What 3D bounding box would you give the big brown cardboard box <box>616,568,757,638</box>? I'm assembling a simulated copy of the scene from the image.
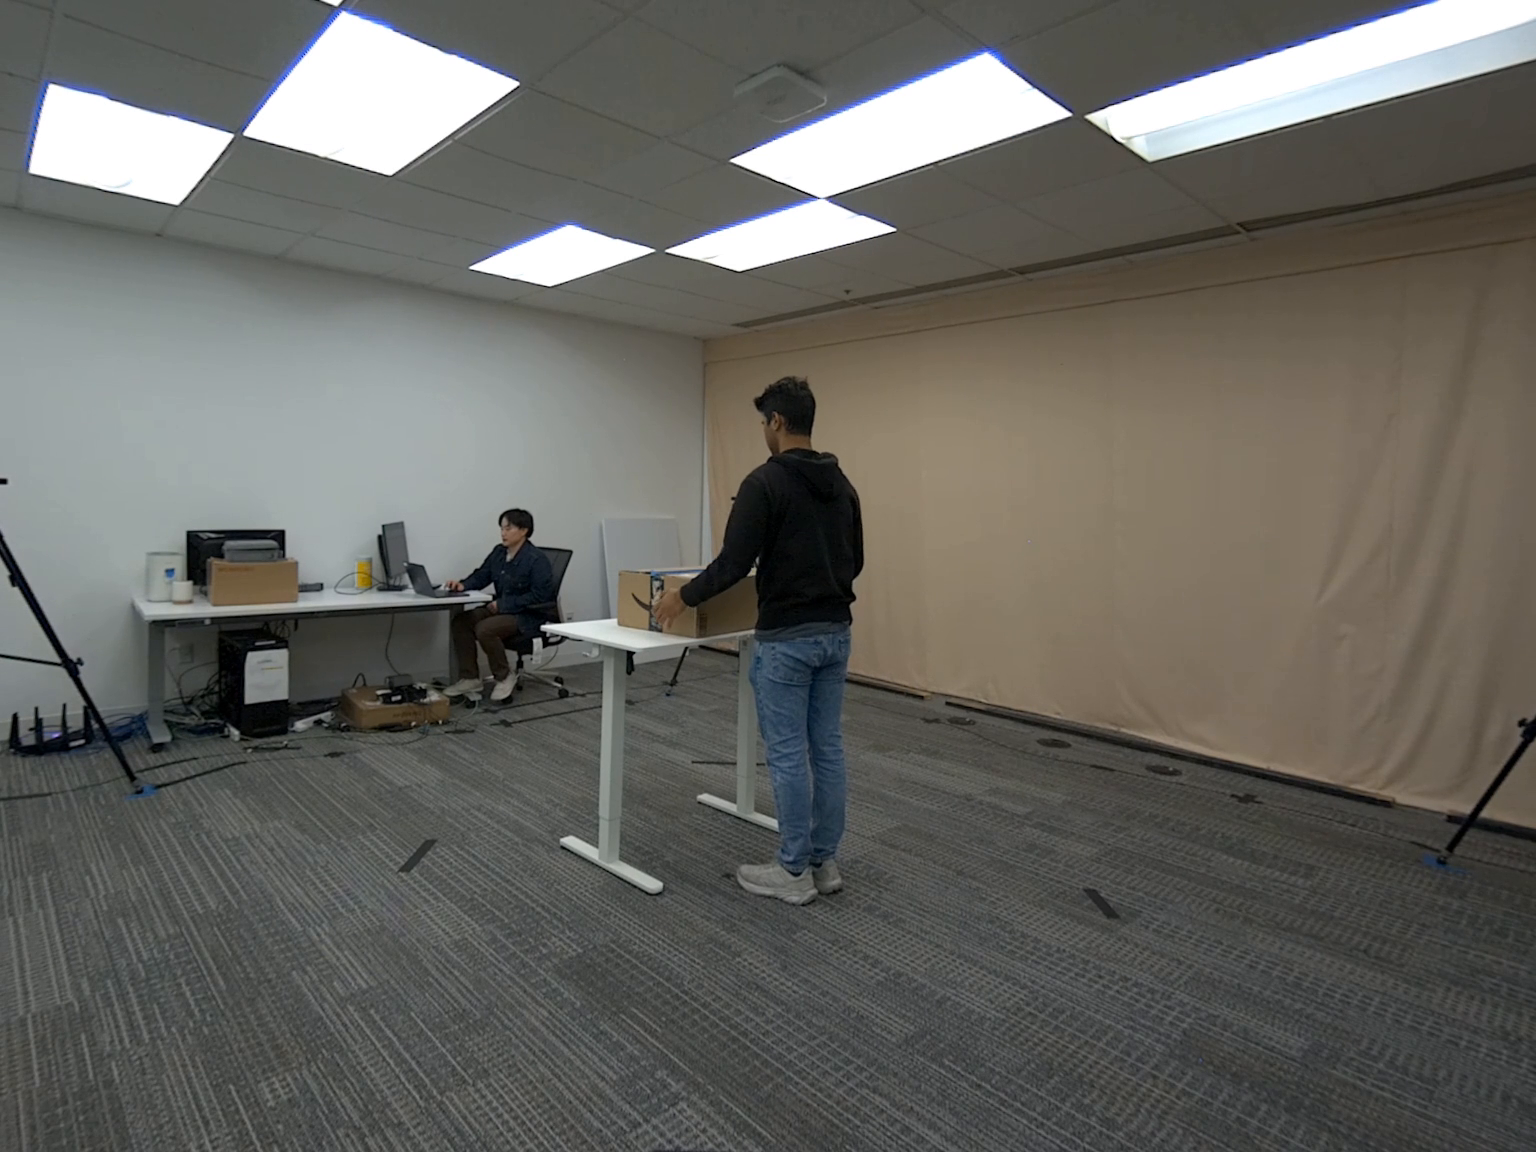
[{"bbox_3d":[-0.268,0.087,3.385,0.428,0.232,0.576,5,5,37],"label":"big brown cardboard box"}]
